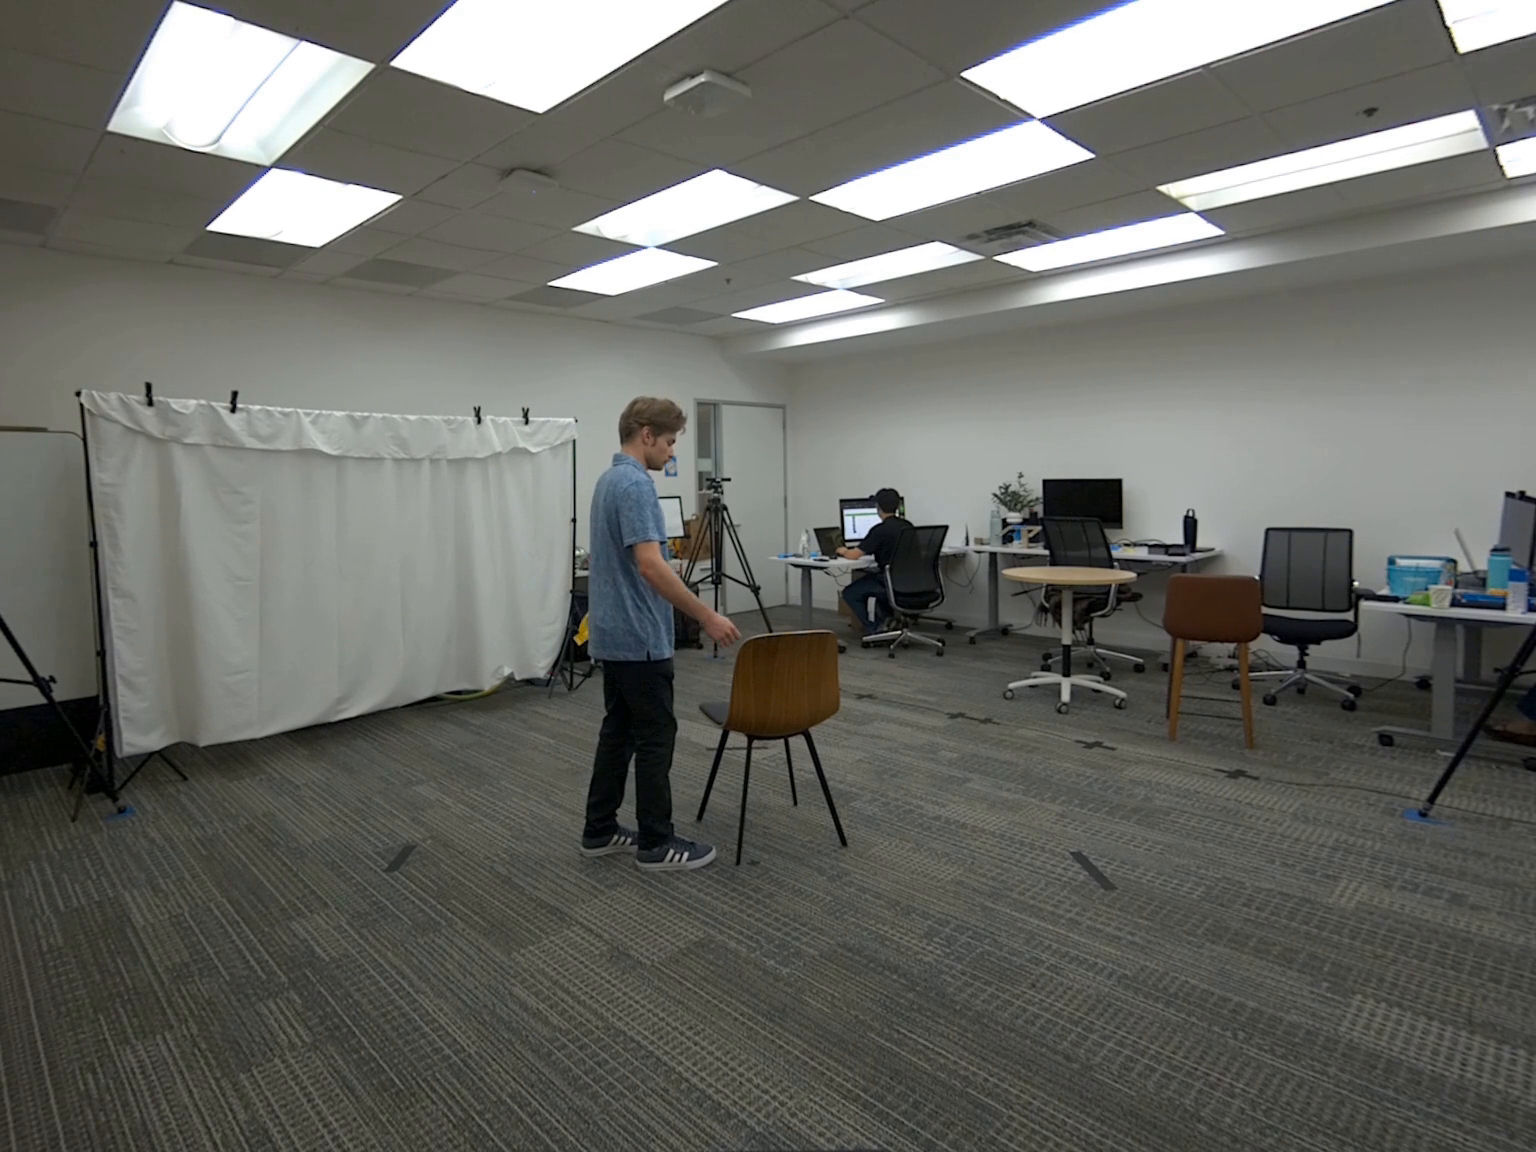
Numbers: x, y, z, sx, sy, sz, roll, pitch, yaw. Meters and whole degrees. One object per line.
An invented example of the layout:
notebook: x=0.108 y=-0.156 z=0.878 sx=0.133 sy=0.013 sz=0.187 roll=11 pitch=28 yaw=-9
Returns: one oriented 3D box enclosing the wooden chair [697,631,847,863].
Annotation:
wooden chair: x=-0.003 y=0.587 z=3.344 sx=0.469 sy=0.871 sz=0.537 roll=-3 pitch=9 yaw=-22
